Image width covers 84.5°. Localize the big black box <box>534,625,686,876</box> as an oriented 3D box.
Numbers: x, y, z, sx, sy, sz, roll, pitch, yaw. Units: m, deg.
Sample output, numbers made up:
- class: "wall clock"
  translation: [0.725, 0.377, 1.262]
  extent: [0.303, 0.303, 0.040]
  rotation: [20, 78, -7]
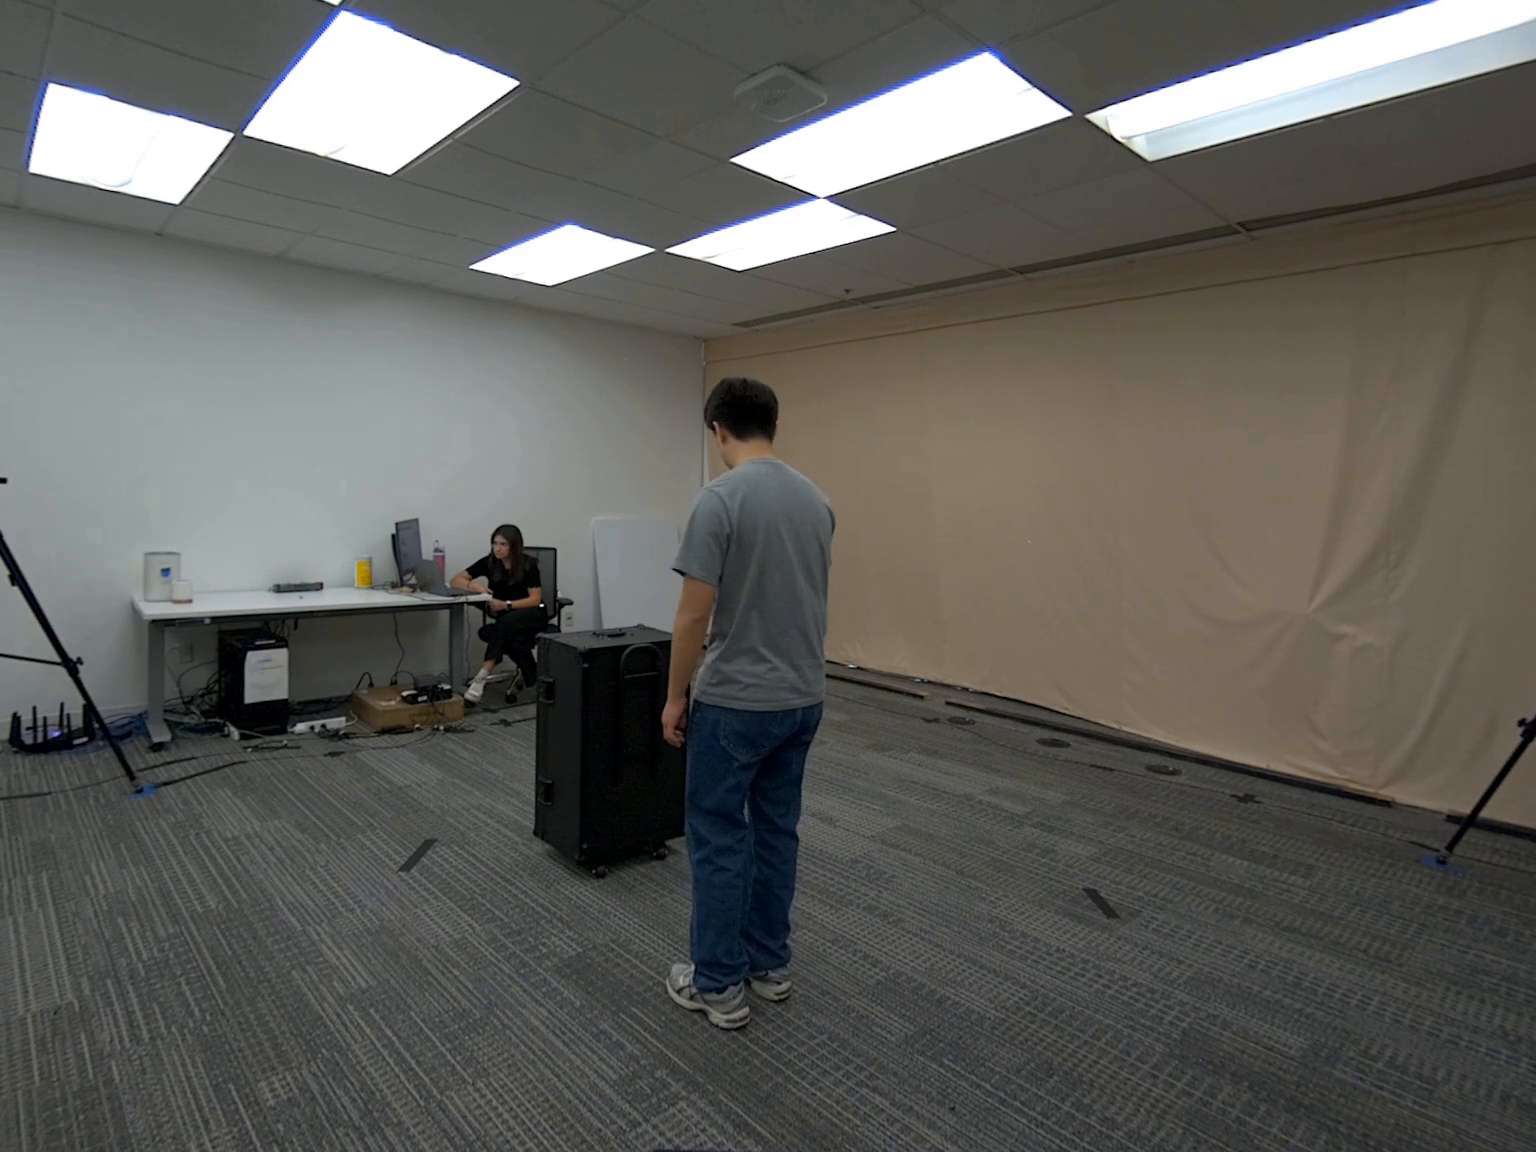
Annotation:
- class: "big black box"
  translation: [-0.600, 0.655, 3.251]
  extent: [0.509, 0.859, 0.406]
  rotation: [-2, 5, -41]
